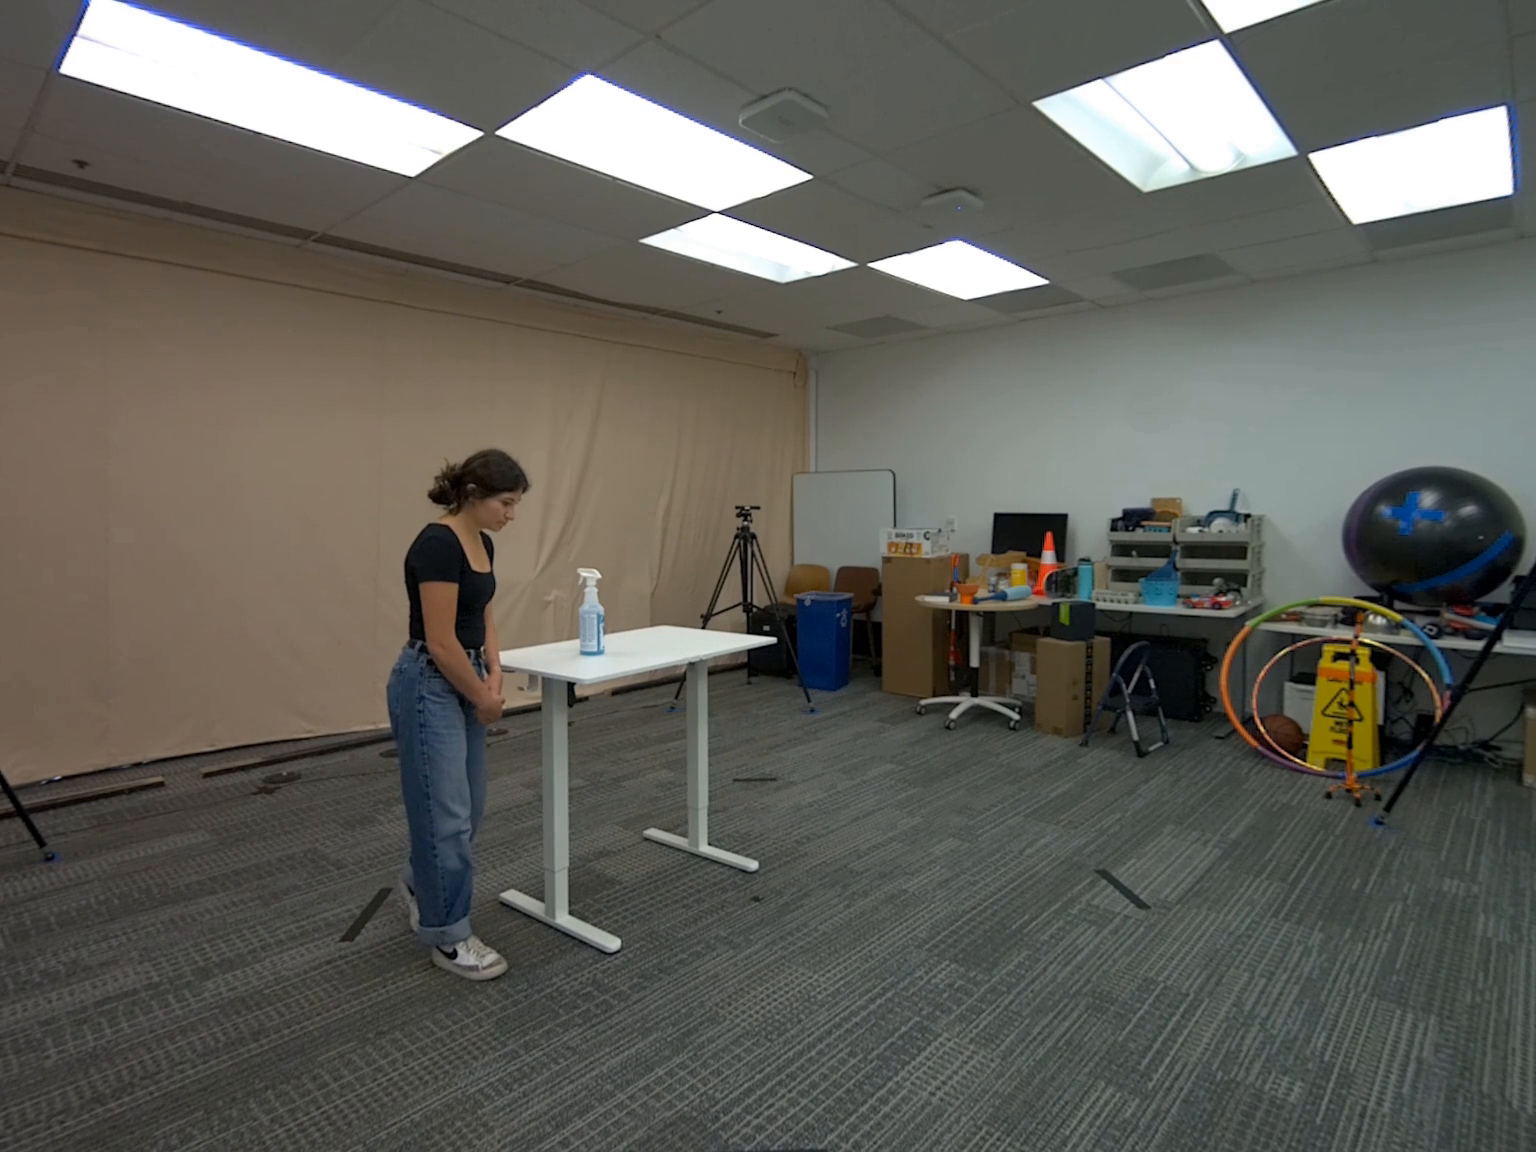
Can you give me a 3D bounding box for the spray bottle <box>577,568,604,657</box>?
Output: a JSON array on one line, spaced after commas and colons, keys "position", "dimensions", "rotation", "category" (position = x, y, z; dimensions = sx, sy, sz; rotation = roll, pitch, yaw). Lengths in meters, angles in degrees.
[{"position": [-0.617, 0.126, 2.919], "dimensions": [0.084, 0.297, 0.093], "rotation": [-3, 3, -44], "category": "spray bottle"}]
